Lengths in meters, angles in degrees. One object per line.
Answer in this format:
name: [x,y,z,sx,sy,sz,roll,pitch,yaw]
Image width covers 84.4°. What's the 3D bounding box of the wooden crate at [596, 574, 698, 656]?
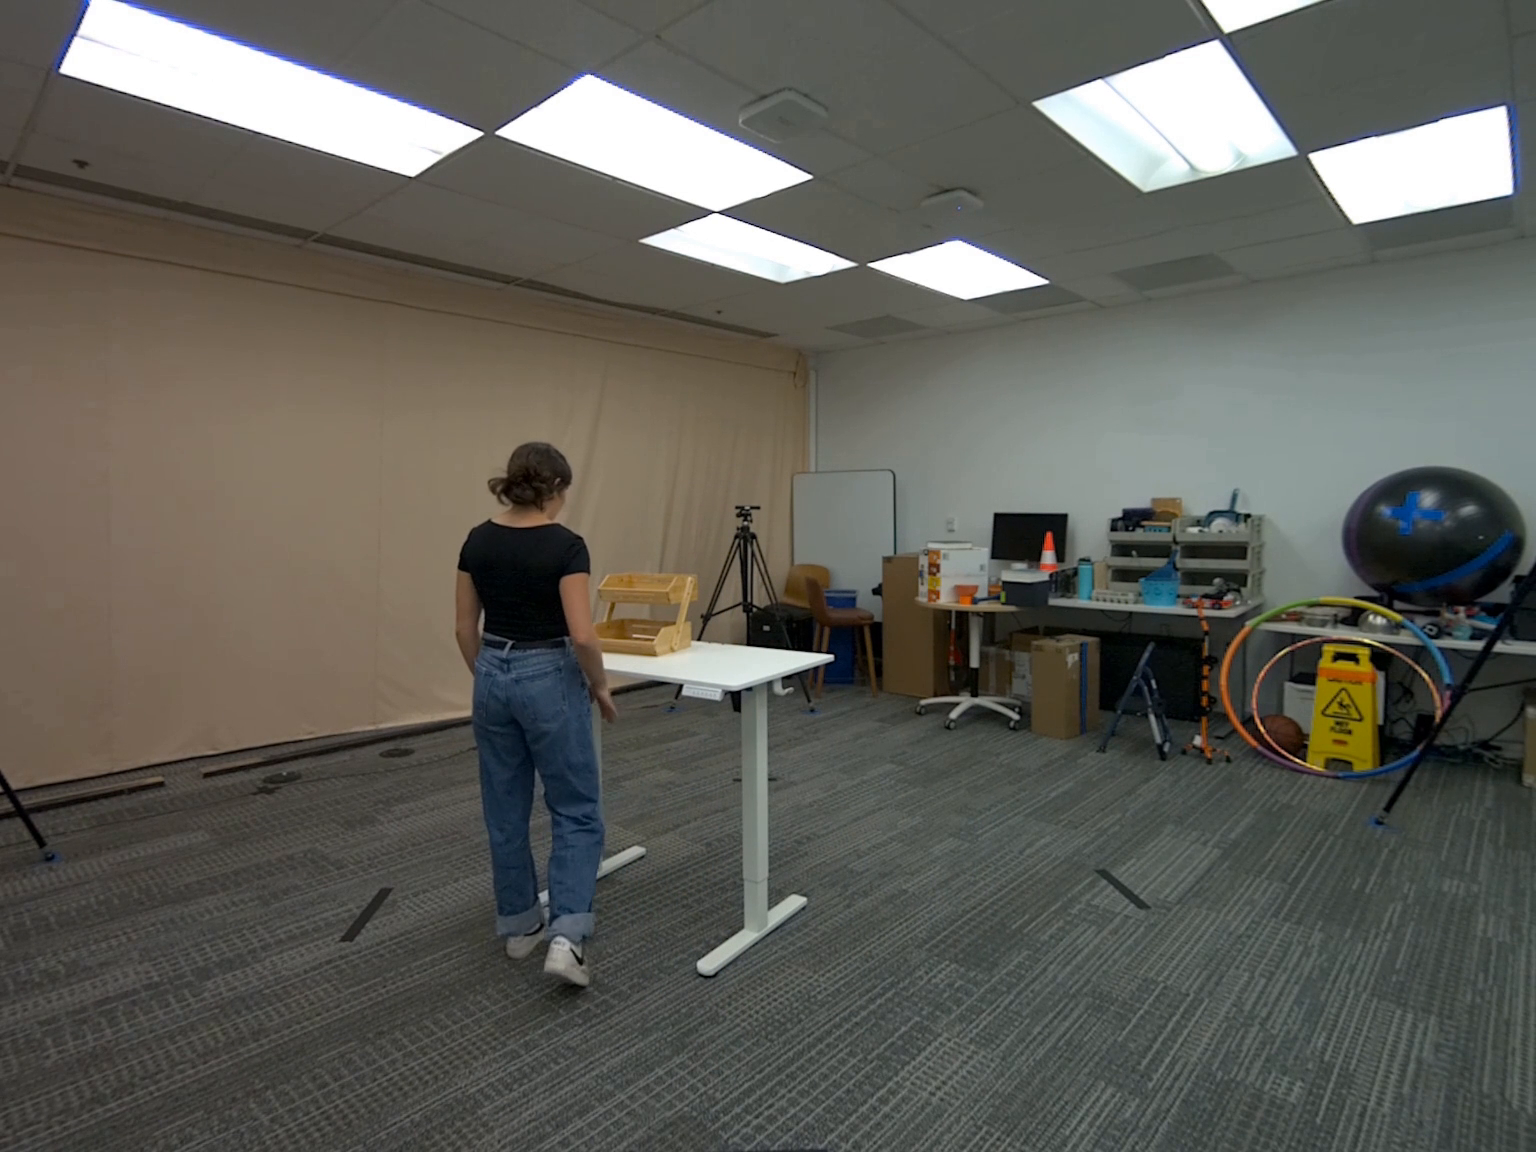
wooden crate: [-0.458,0.130,3.044,0.333,0.273,0.295,1,3,26]
